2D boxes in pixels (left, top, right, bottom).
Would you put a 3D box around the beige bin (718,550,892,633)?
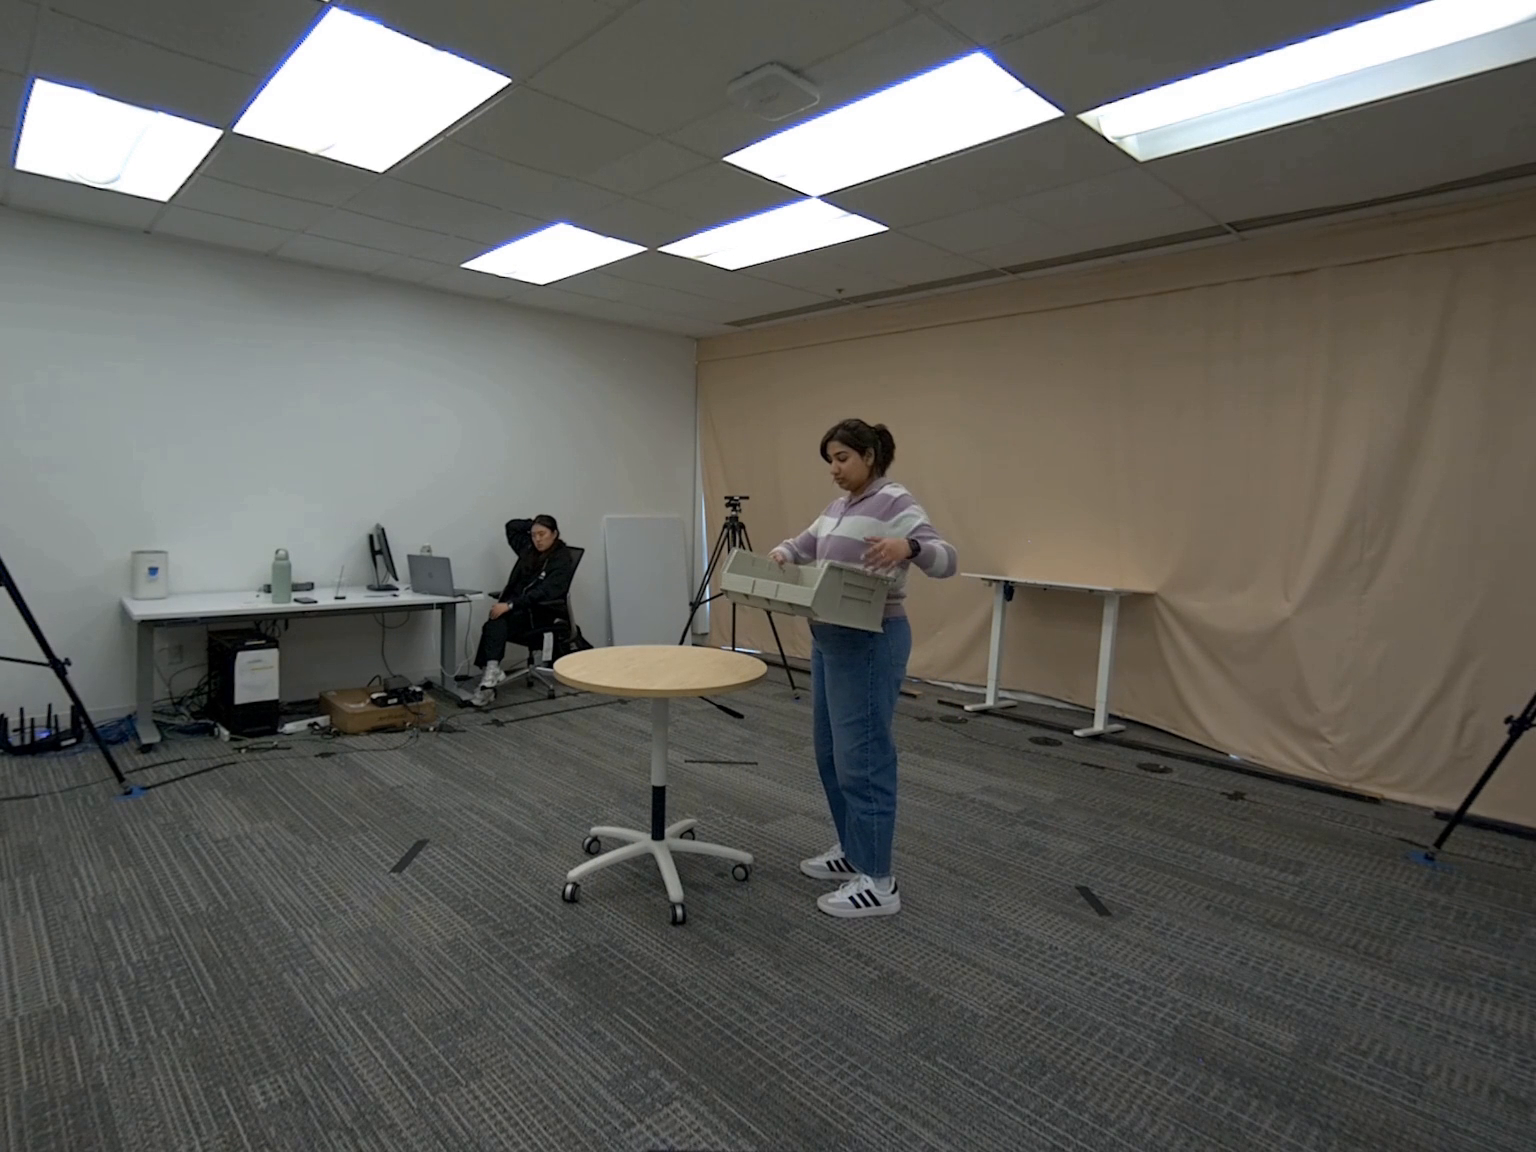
[{"bbox_3d":[0.112,0.045,2.697,0.366,0.189,0.433,15,-5,-44],"label":"beige bin"}]
